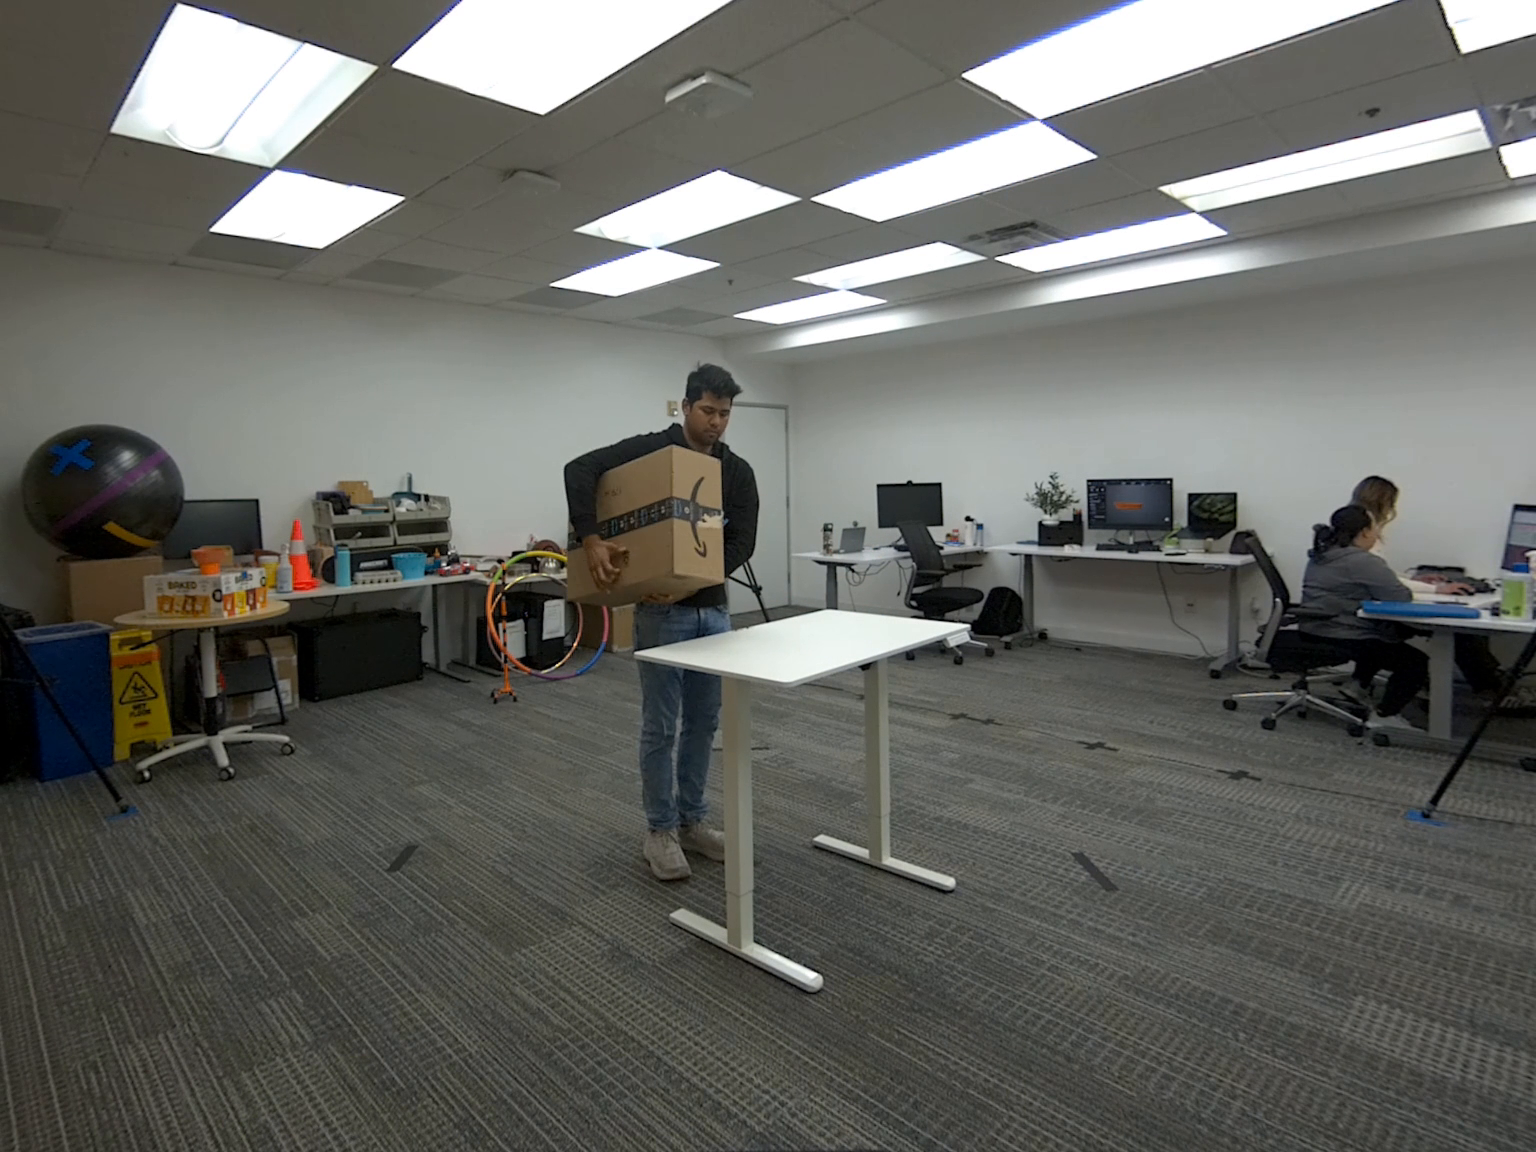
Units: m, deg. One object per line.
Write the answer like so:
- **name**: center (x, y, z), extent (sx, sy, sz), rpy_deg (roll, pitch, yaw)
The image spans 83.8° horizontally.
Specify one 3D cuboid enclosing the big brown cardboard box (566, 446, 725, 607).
- **big brown cardboard box**: center (-0.423, -0.138, 2.876), extent (0.601, 0.423, 0.225), rpy_deg (-14, -18, 43)
